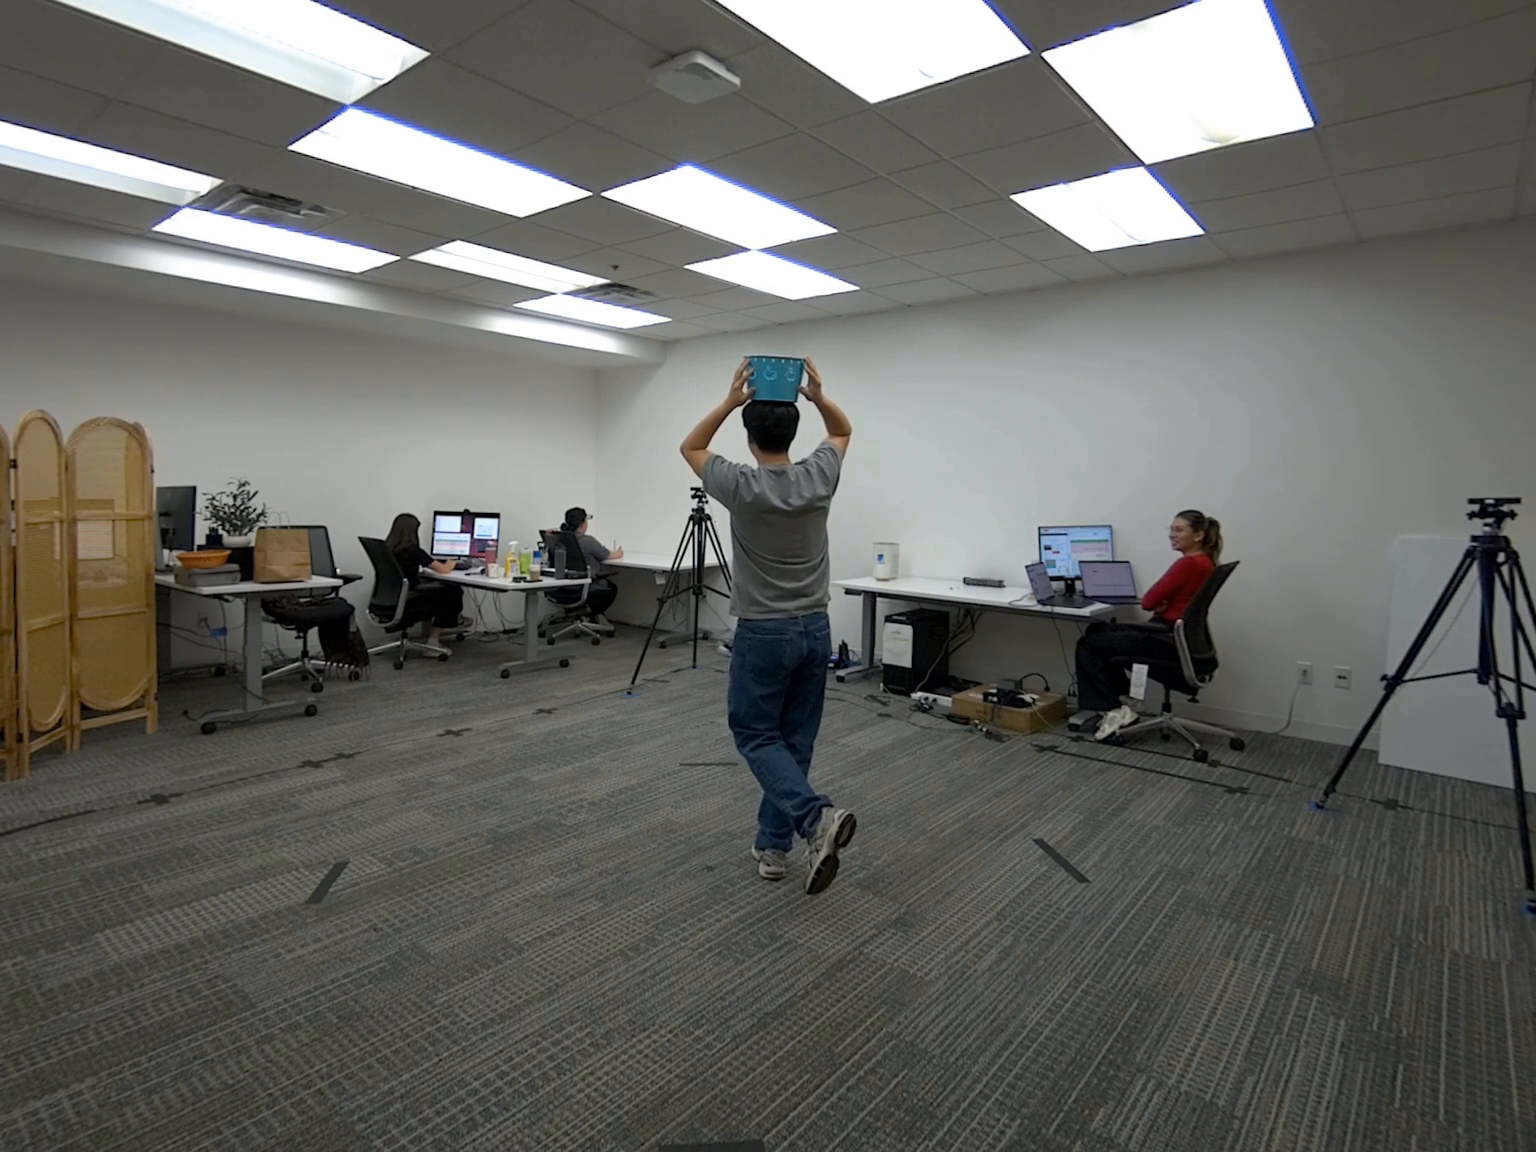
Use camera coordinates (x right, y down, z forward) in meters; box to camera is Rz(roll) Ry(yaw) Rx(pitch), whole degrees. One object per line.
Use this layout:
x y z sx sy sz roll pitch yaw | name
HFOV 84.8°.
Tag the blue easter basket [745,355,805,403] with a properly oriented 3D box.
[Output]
0.019 -0.707 3.060 0.243 0.154 0.247 3 12 -2 | blue easter basket
